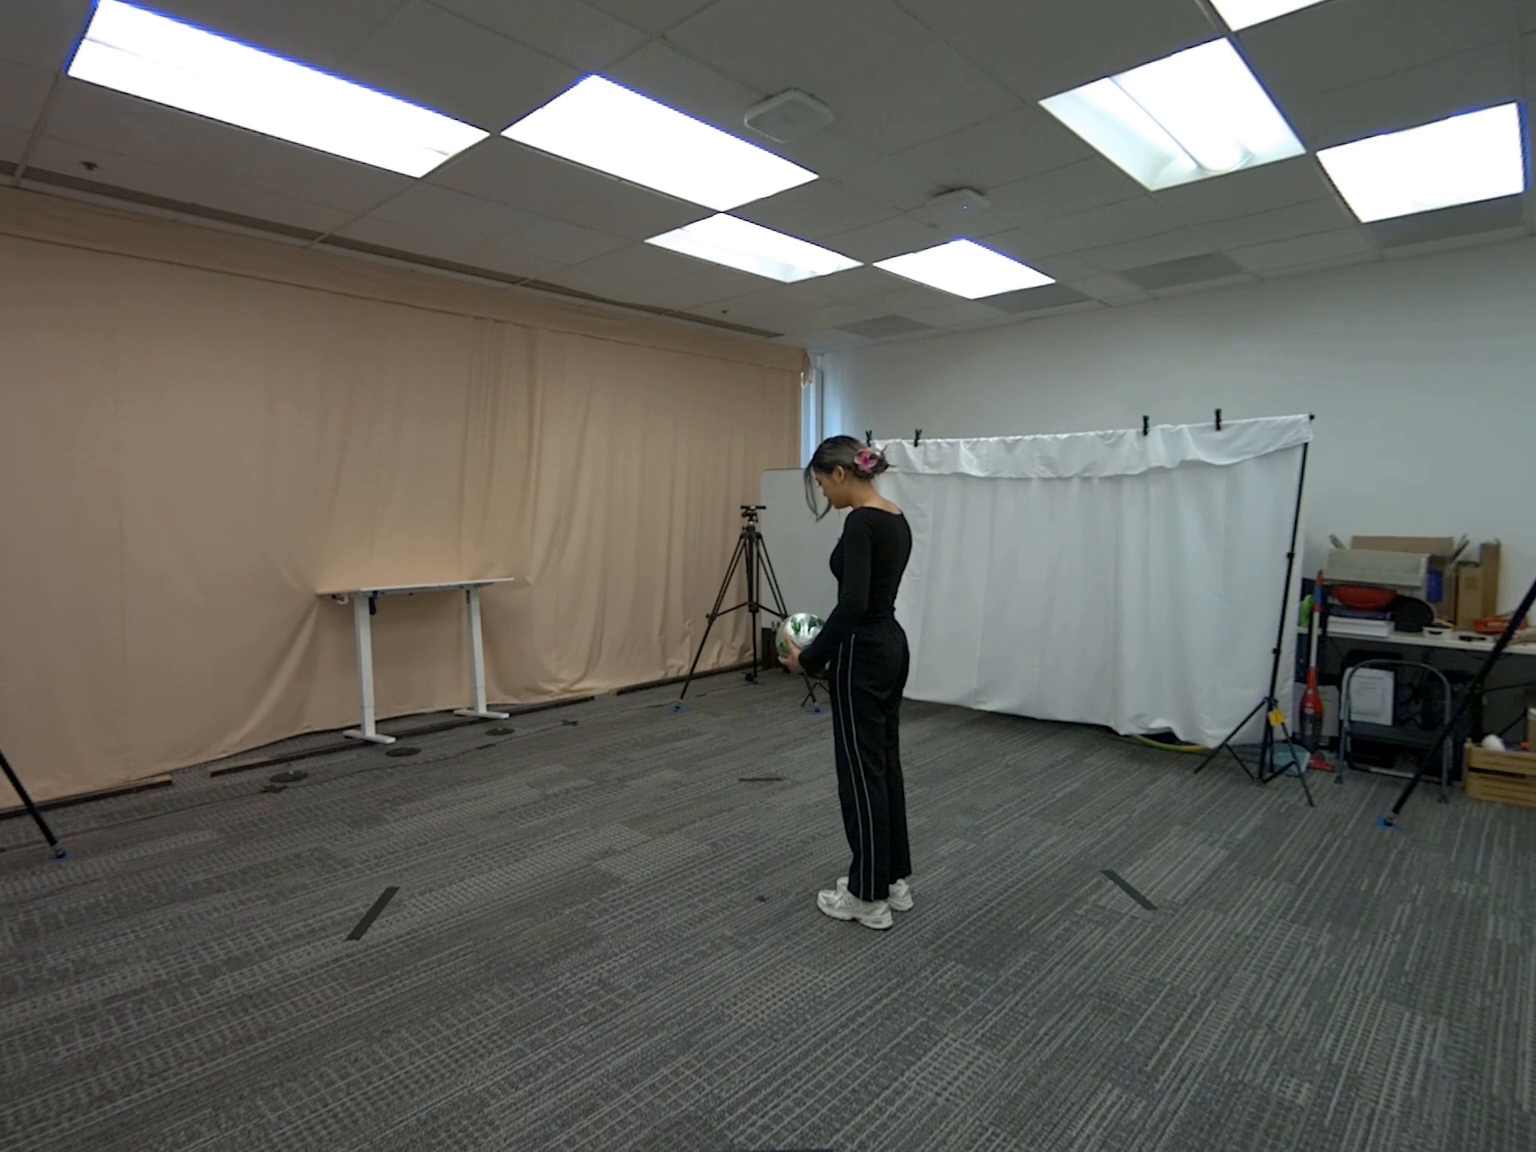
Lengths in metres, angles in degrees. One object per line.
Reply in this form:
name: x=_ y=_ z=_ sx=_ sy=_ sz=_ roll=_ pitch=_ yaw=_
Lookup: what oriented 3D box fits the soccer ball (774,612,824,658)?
soccer ball: x=0.129 y=0.219 z=2.785 sx=0.187 sy=0.187 sz=0.188 roll=0 pitch=4 yaw=-2
